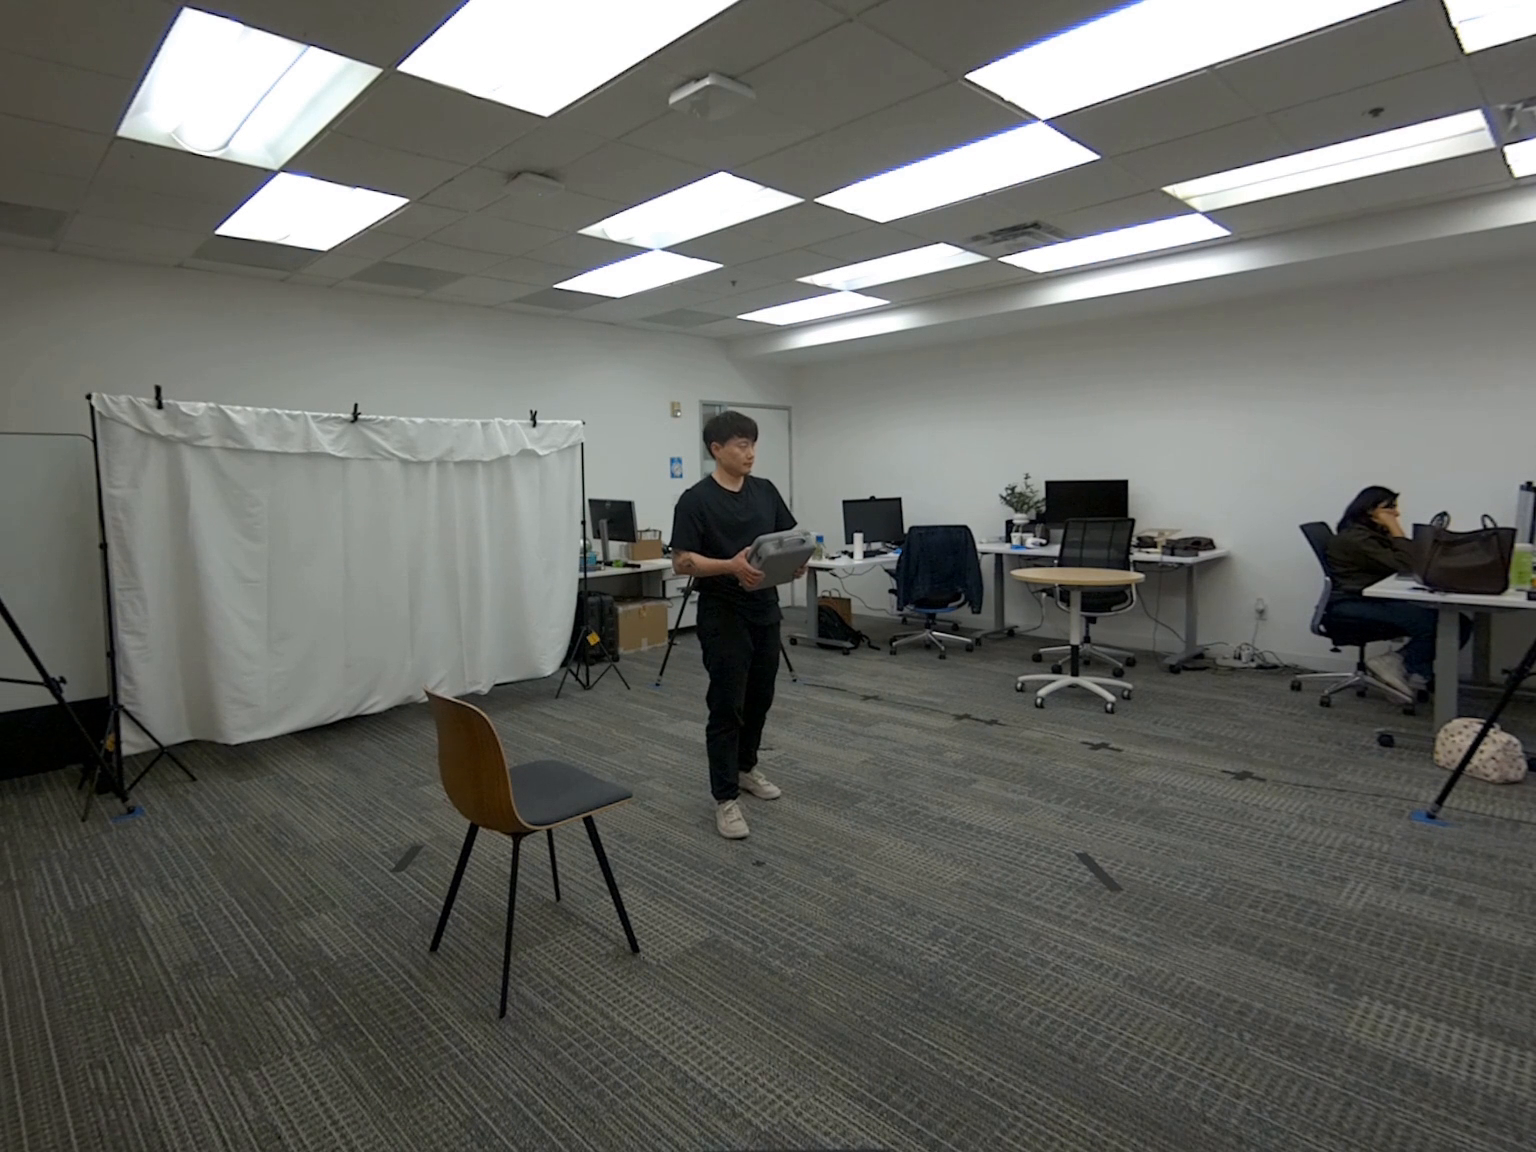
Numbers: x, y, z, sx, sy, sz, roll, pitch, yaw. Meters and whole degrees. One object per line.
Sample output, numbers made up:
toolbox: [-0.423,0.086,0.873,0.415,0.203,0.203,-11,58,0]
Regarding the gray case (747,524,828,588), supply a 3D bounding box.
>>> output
gray case: [0.046,-0.065,3.313,0.251,0.107,0.259,-11,-27,-33]
